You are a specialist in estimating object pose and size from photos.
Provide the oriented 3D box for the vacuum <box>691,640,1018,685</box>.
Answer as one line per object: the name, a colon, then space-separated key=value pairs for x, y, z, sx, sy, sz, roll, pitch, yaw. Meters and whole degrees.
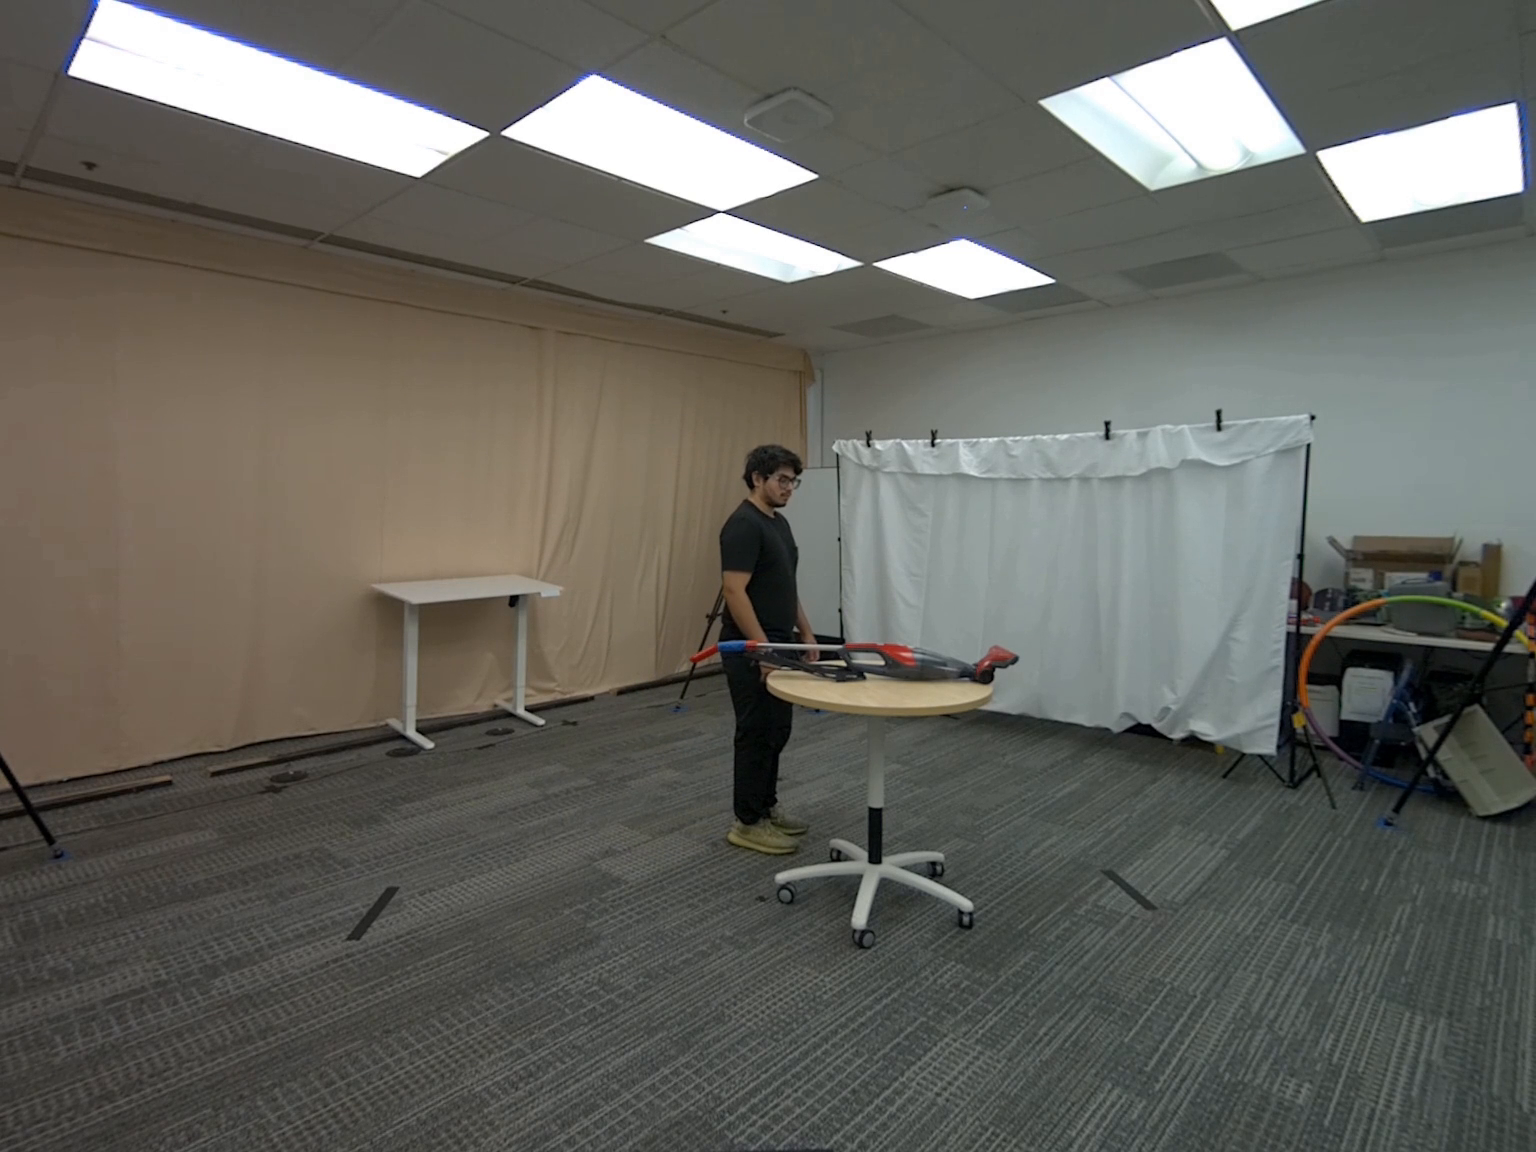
vacuum: x=0.271 y=0.300 z=2.961 sx=1.055 sy=0.143 sz=0.252 roll=2 pitch=7 yaw=5
